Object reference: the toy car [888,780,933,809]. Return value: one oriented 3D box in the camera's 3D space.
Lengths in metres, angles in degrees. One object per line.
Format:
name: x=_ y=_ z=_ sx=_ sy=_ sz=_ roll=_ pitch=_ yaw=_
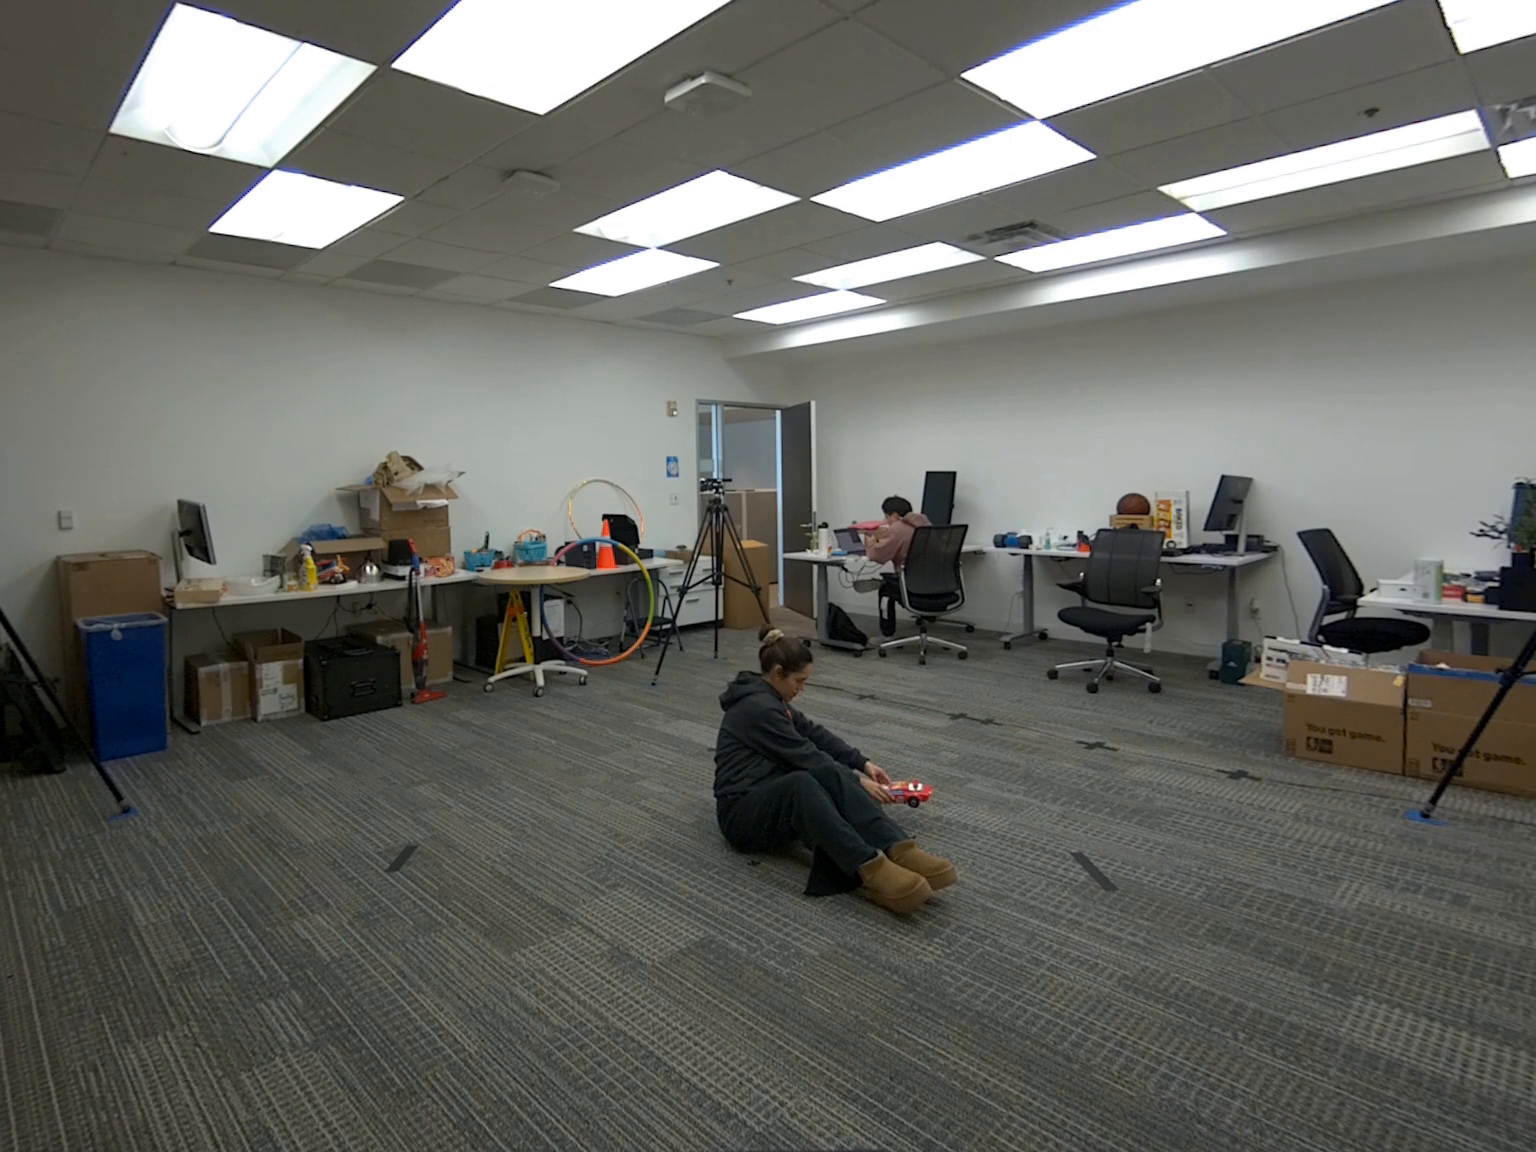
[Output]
toy car: x=0.532 y=0.865 z=3.390 sx=0.258 sy=0.083 sz=0.129 roll=-14 pitch=6 yaw=18
